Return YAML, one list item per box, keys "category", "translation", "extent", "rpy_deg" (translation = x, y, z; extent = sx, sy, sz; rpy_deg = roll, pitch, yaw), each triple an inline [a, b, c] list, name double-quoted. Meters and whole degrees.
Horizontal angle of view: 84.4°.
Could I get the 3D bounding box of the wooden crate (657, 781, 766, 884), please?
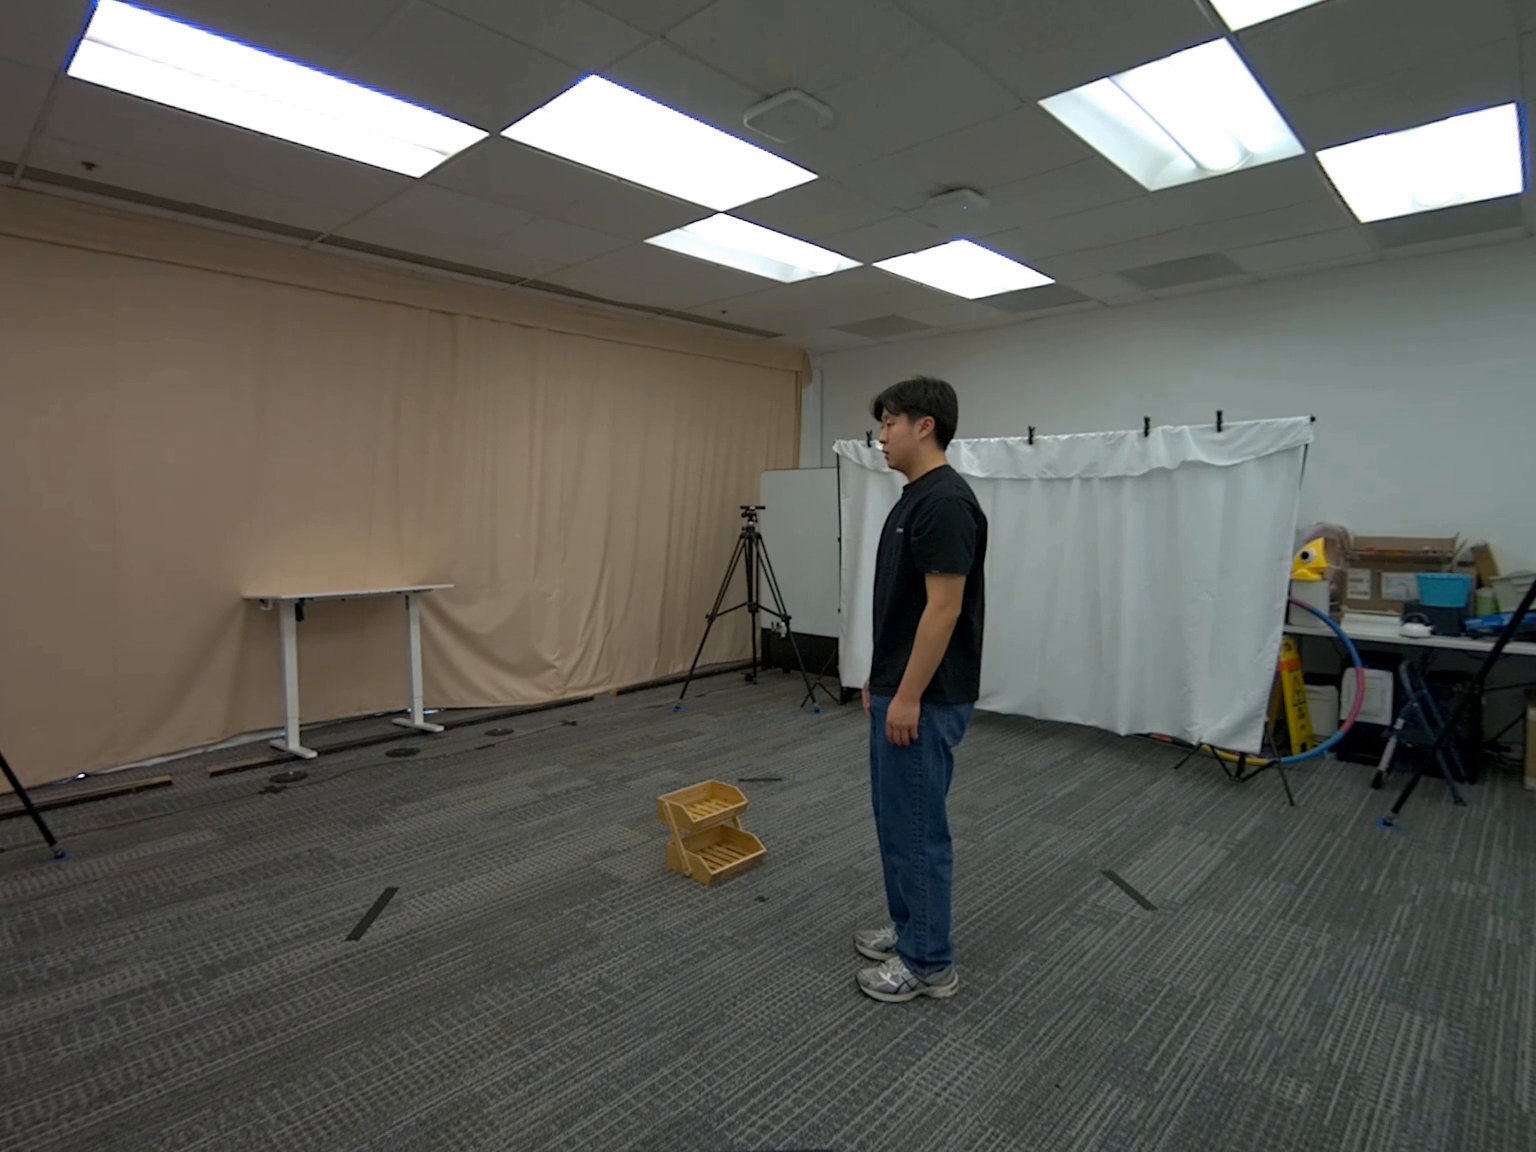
- category: "wooden crate"
  translation: [-0.218, 0.985, 3.280]
  extent: [0.312, 0.273, 0.314]
  rpy_deg: [2, 5, 43]
